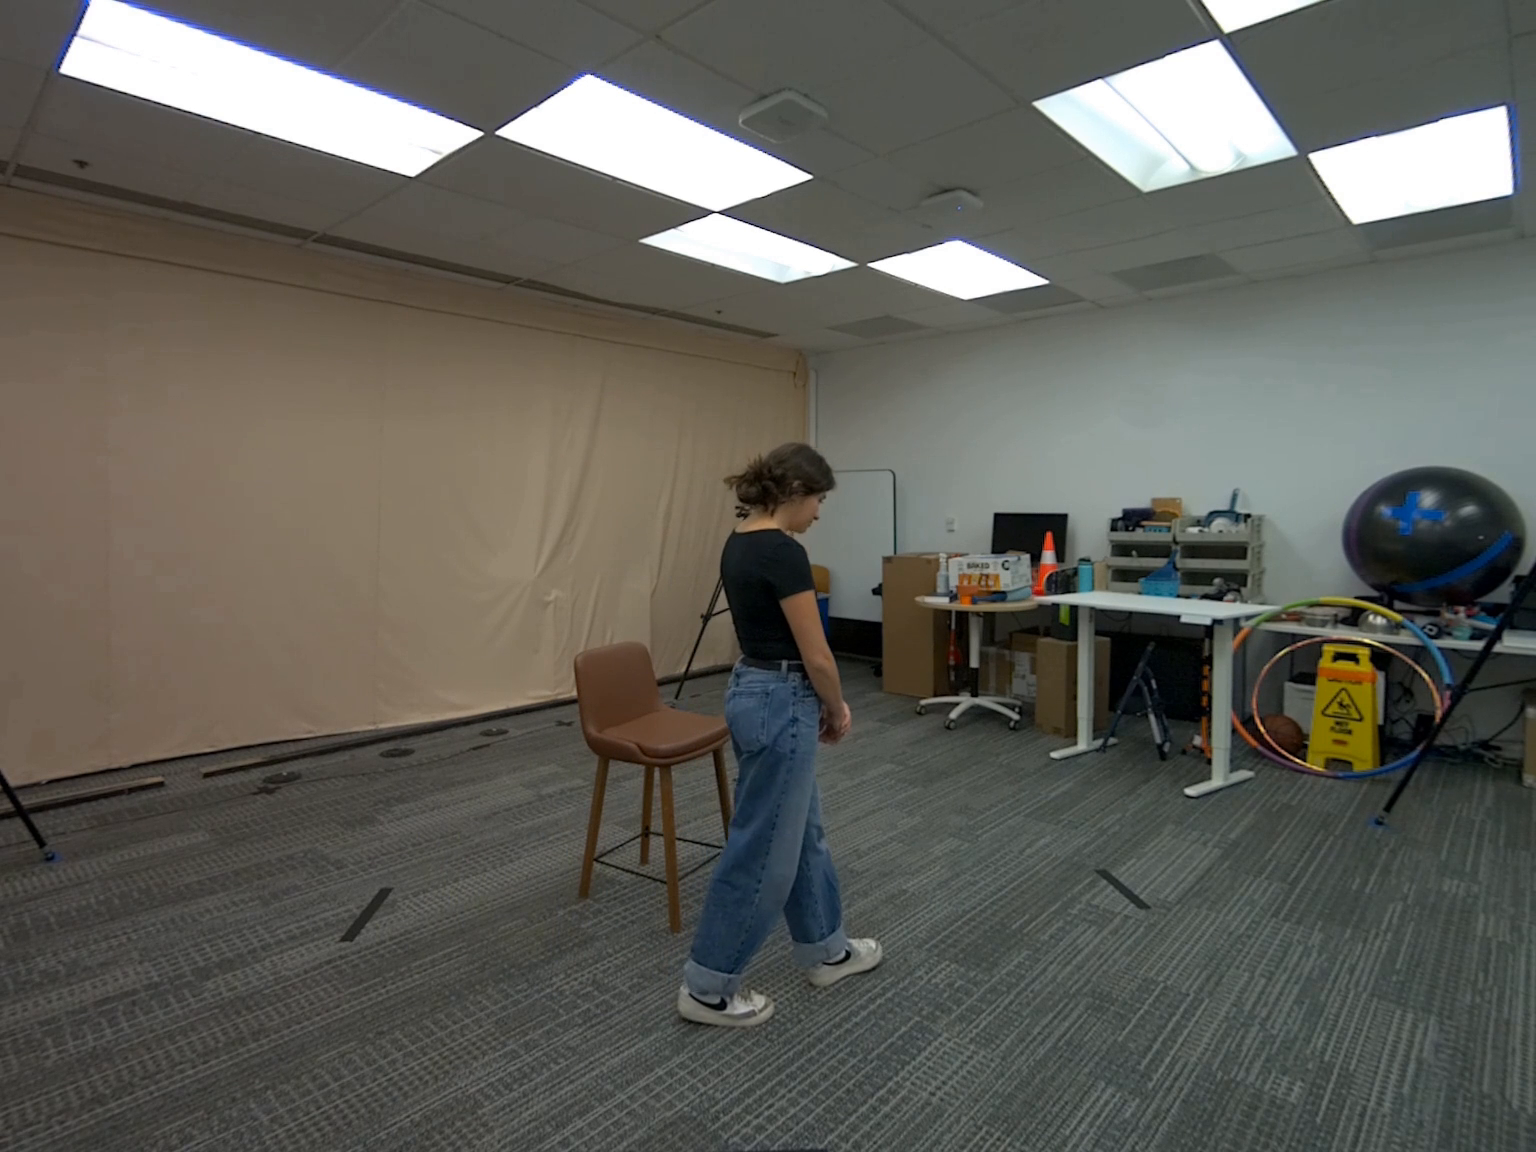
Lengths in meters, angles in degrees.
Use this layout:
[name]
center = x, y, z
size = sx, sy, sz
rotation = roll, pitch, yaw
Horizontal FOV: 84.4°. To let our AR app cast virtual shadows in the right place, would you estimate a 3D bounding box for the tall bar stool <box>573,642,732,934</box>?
[tall bar stool]
center = -0.400, 0.709, 3.016
size = 0.481, 0.888, 0.444
rotation = -1, 3, 33
